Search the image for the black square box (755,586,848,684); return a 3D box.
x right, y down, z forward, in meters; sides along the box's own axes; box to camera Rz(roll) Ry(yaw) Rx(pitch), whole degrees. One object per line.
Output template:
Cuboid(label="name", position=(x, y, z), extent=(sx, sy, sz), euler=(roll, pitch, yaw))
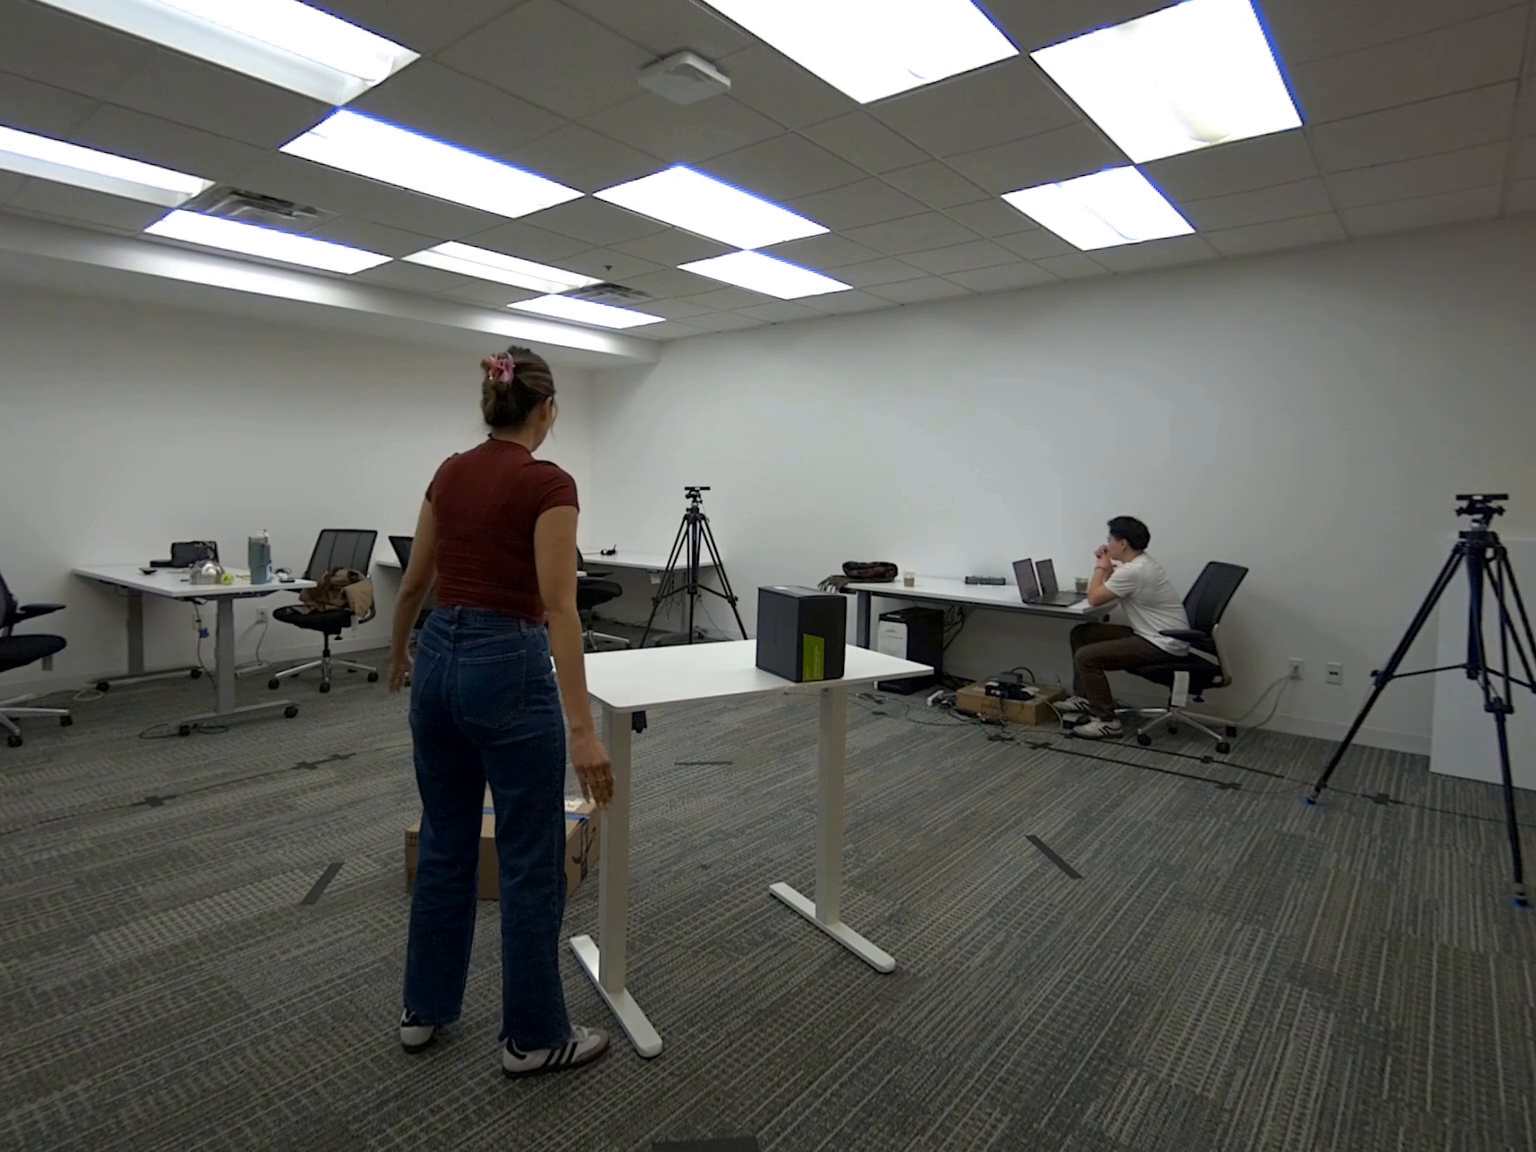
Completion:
Cuboid(label="black square box", position=(0.079, 0.153, 2.350), extent=(0.152, 0.227, 0.224), euler=(0, 6, -30))
